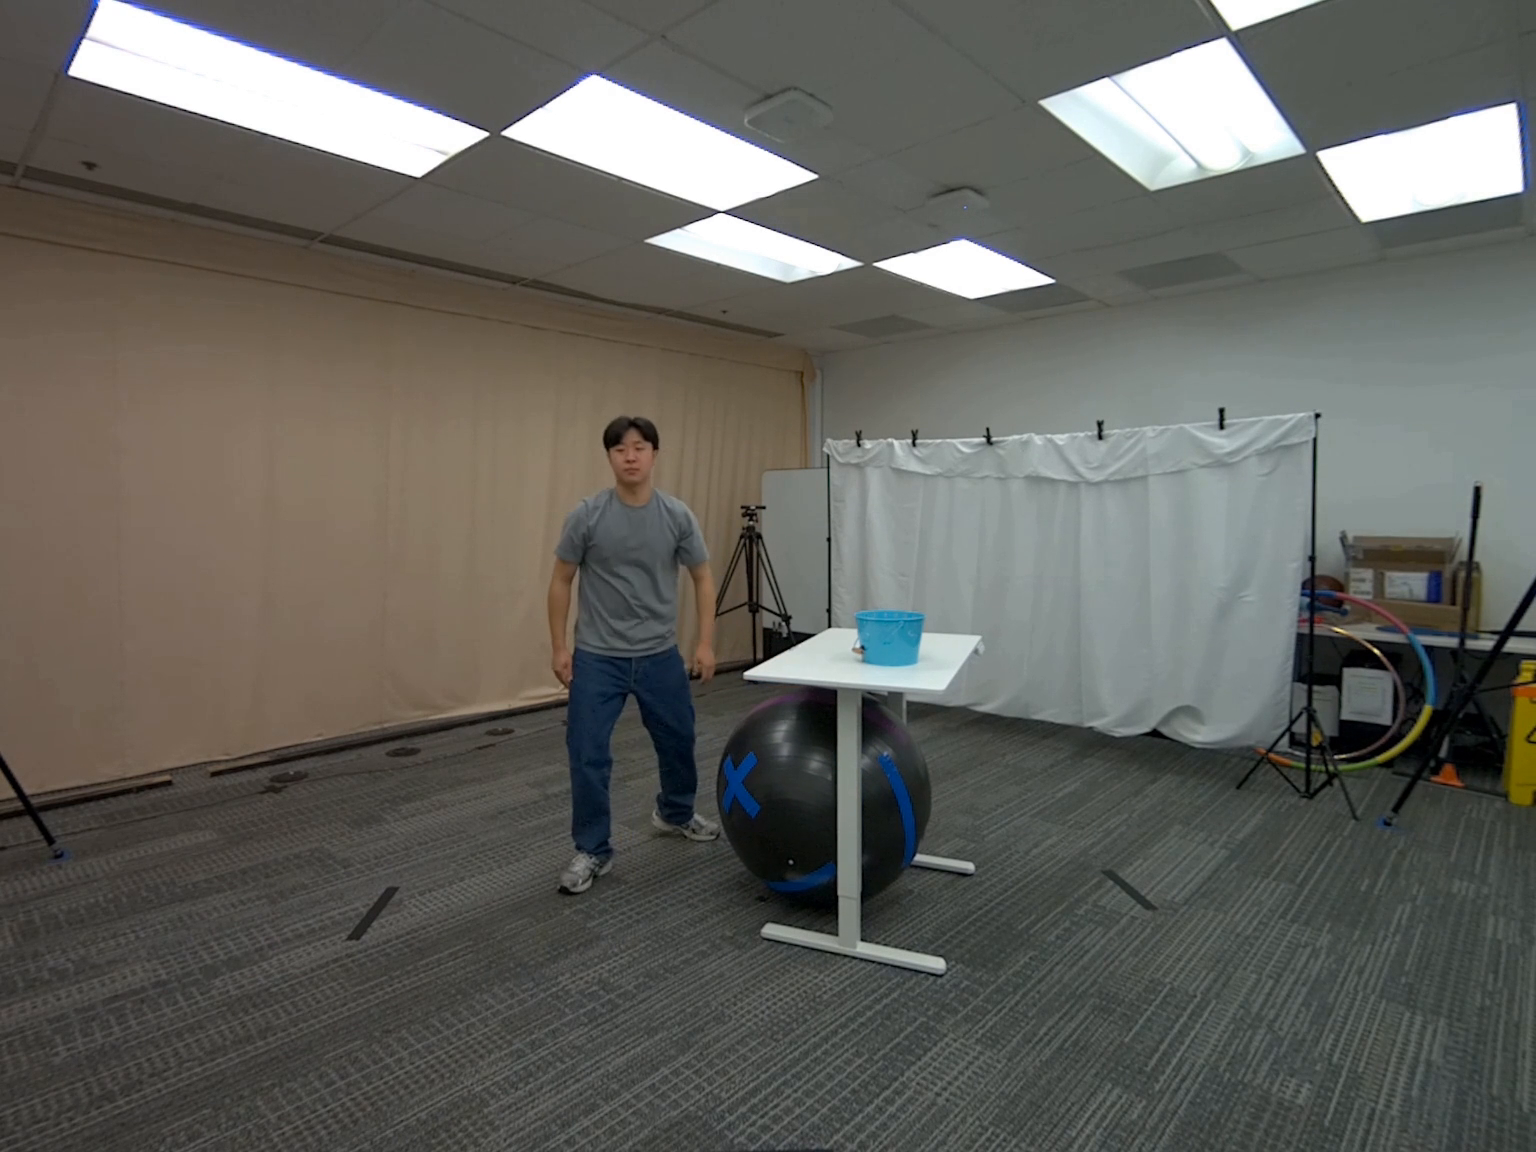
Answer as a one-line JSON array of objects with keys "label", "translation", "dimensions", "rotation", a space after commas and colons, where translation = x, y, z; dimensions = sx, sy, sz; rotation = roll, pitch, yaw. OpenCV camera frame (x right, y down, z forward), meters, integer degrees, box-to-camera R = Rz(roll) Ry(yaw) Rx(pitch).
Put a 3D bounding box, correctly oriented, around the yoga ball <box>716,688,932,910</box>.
[{"label": "yoga ball", "translation": [0.197, 0.766, 3.015], "dimensions": [0.757, 0.756, 0.760], "rotation": [0, 4, -2]}]
